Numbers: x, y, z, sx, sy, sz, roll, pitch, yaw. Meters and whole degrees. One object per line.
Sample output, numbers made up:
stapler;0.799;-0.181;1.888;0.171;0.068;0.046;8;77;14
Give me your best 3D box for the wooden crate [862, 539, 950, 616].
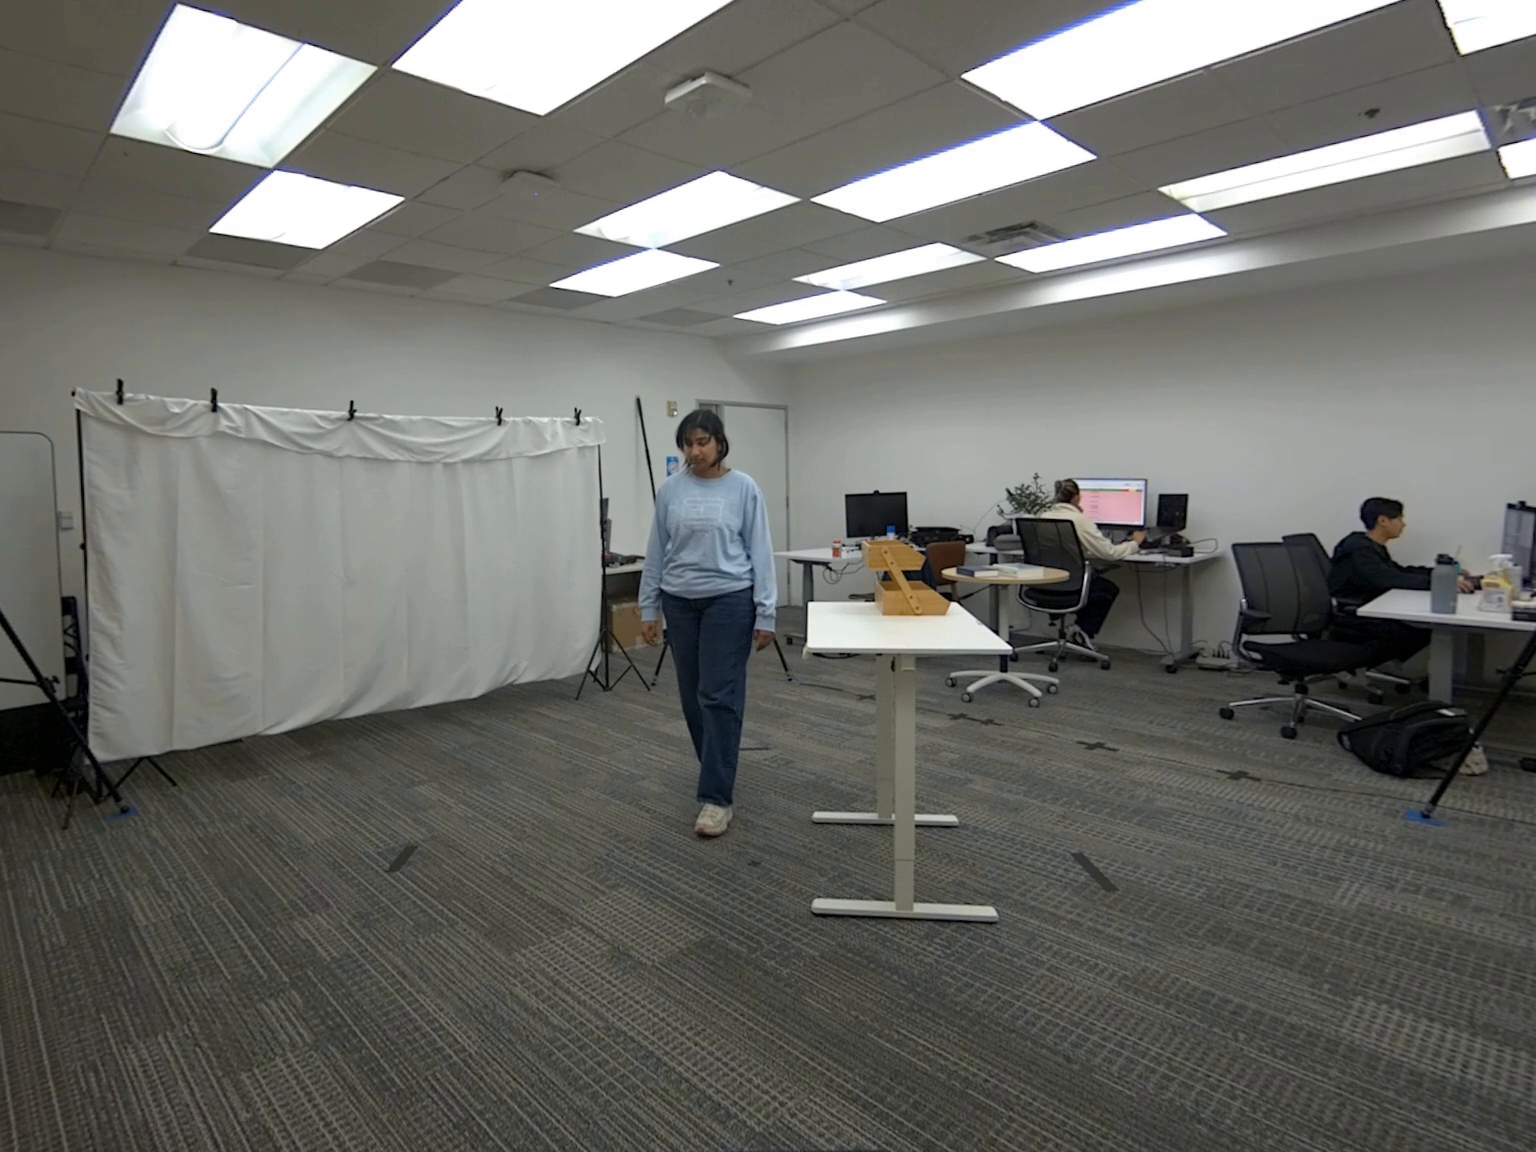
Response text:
wooden crate;0.537;-0.003;3.316;0.303;0.272;0.325;-2;5;2
